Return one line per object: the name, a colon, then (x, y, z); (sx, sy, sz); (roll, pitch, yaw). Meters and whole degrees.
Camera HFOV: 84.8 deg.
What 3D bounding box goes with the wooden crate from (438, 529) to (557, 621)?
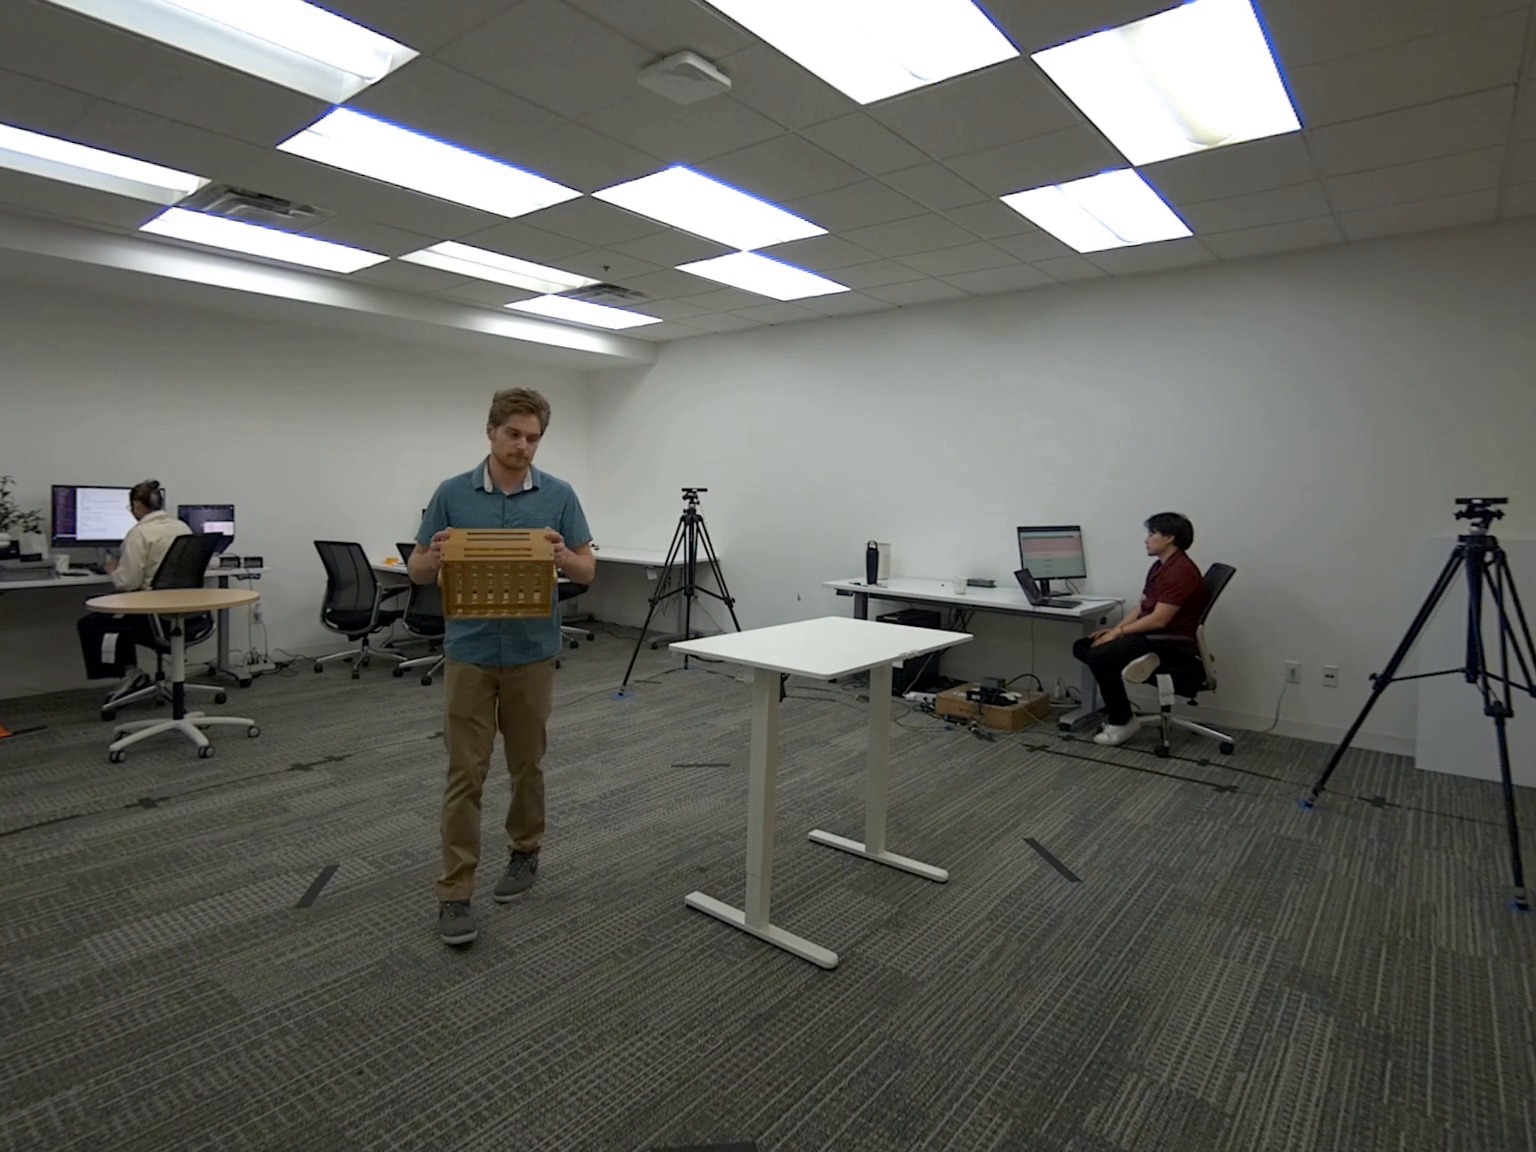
wooden crate: (-0.816, -0.043, 2.491); (0.319, 0.296, 0.283); (-1, 41, -16)
